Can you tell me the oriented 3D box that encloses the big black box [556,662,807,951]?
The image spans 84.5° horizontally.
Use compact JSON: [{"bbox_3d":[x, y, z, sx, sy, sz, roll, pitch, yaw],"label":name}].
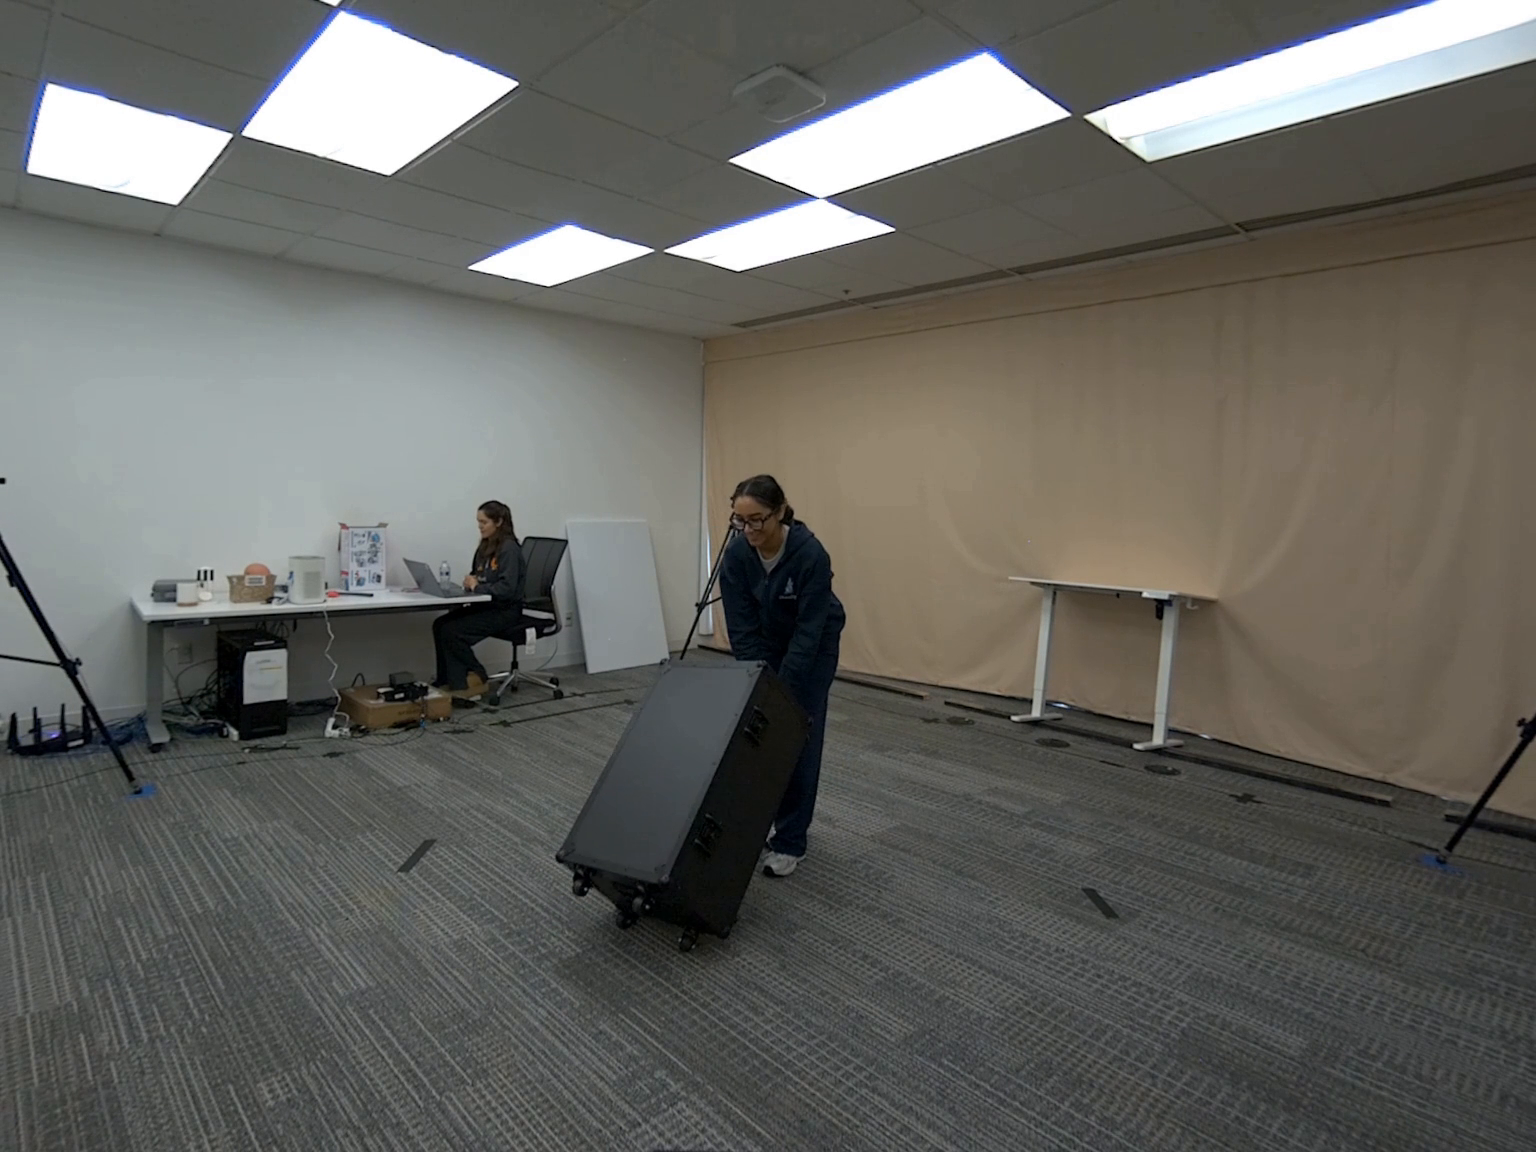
[{"bbox_3d":[-0.270,0.737,2.807,0.532,0.868,0.385,-4,-45,37],"label":"big black box"}]
